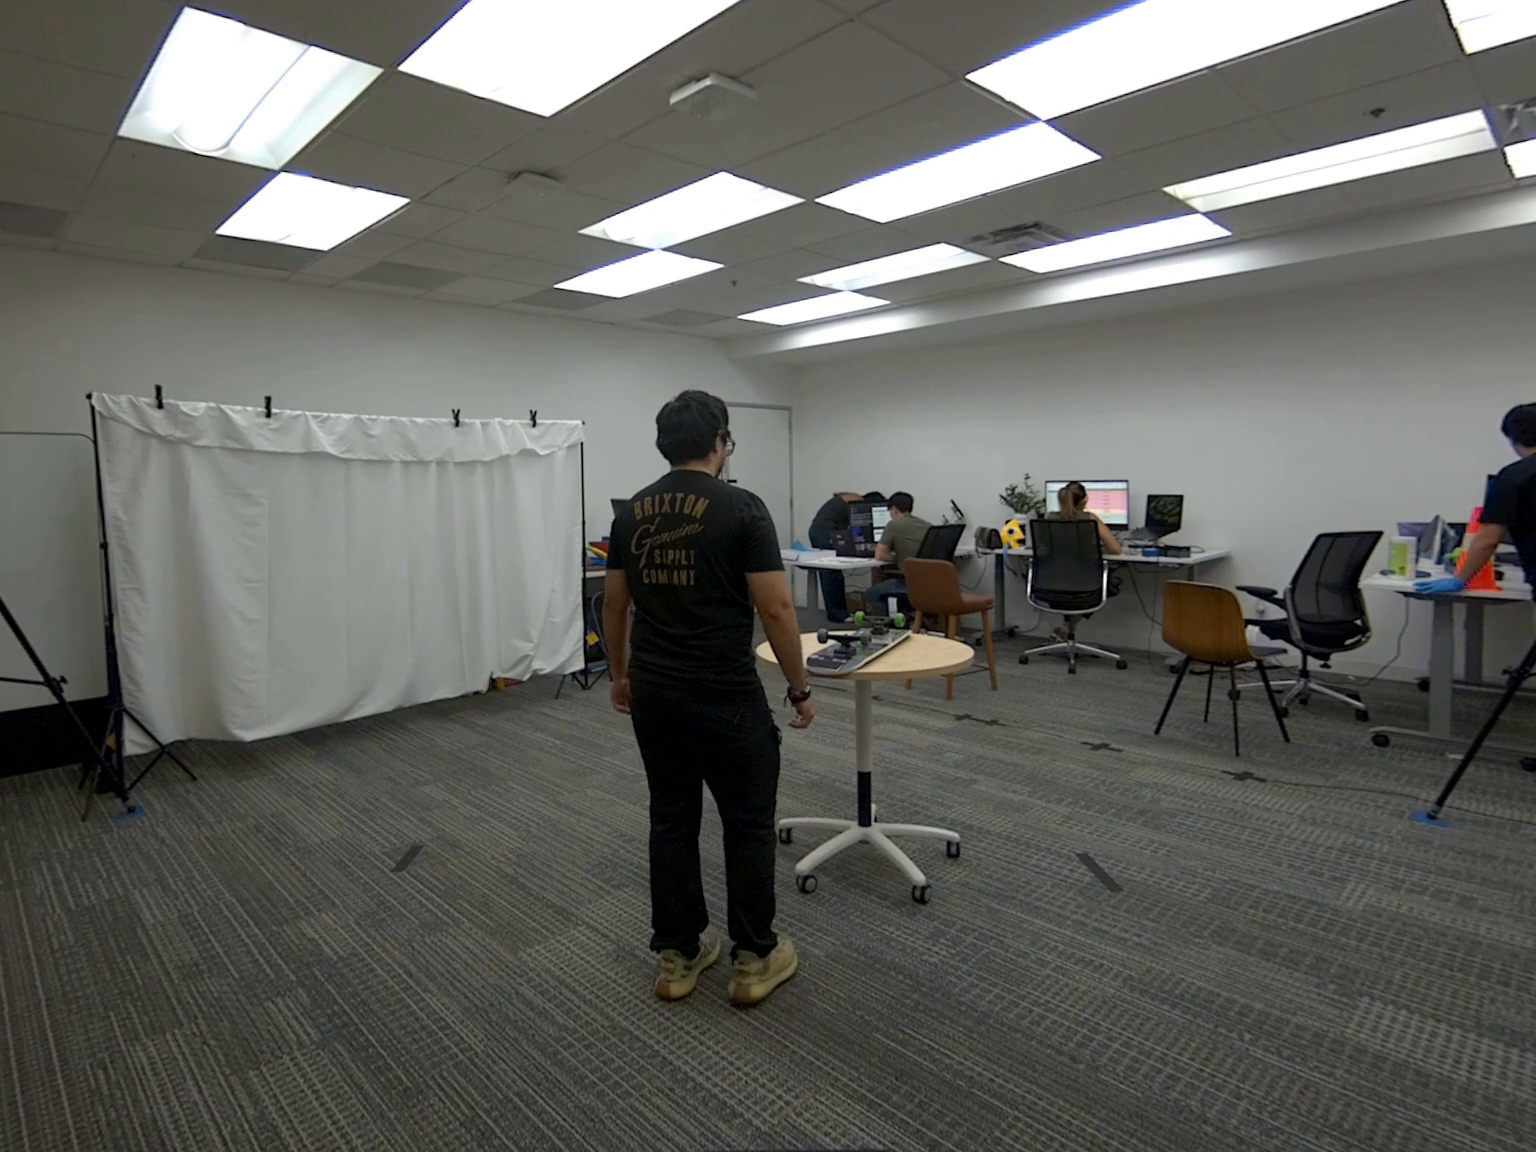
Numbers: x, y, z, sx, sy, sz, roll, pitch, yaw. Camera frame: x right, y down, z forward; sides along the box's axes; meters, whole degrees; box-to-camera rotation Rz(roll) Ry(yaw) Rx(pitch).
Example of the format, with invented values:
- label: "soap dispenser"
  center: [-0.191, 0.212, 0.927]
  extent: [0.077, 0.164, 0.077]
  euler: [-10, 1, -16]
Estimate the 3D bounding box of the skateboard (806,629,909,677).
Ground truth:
- label: "skateboard"
  center: [0.351, 0.221, 3.028]
  extent: [0.198, 0.110, 0.770]
  euler: [2, 8, 26]
